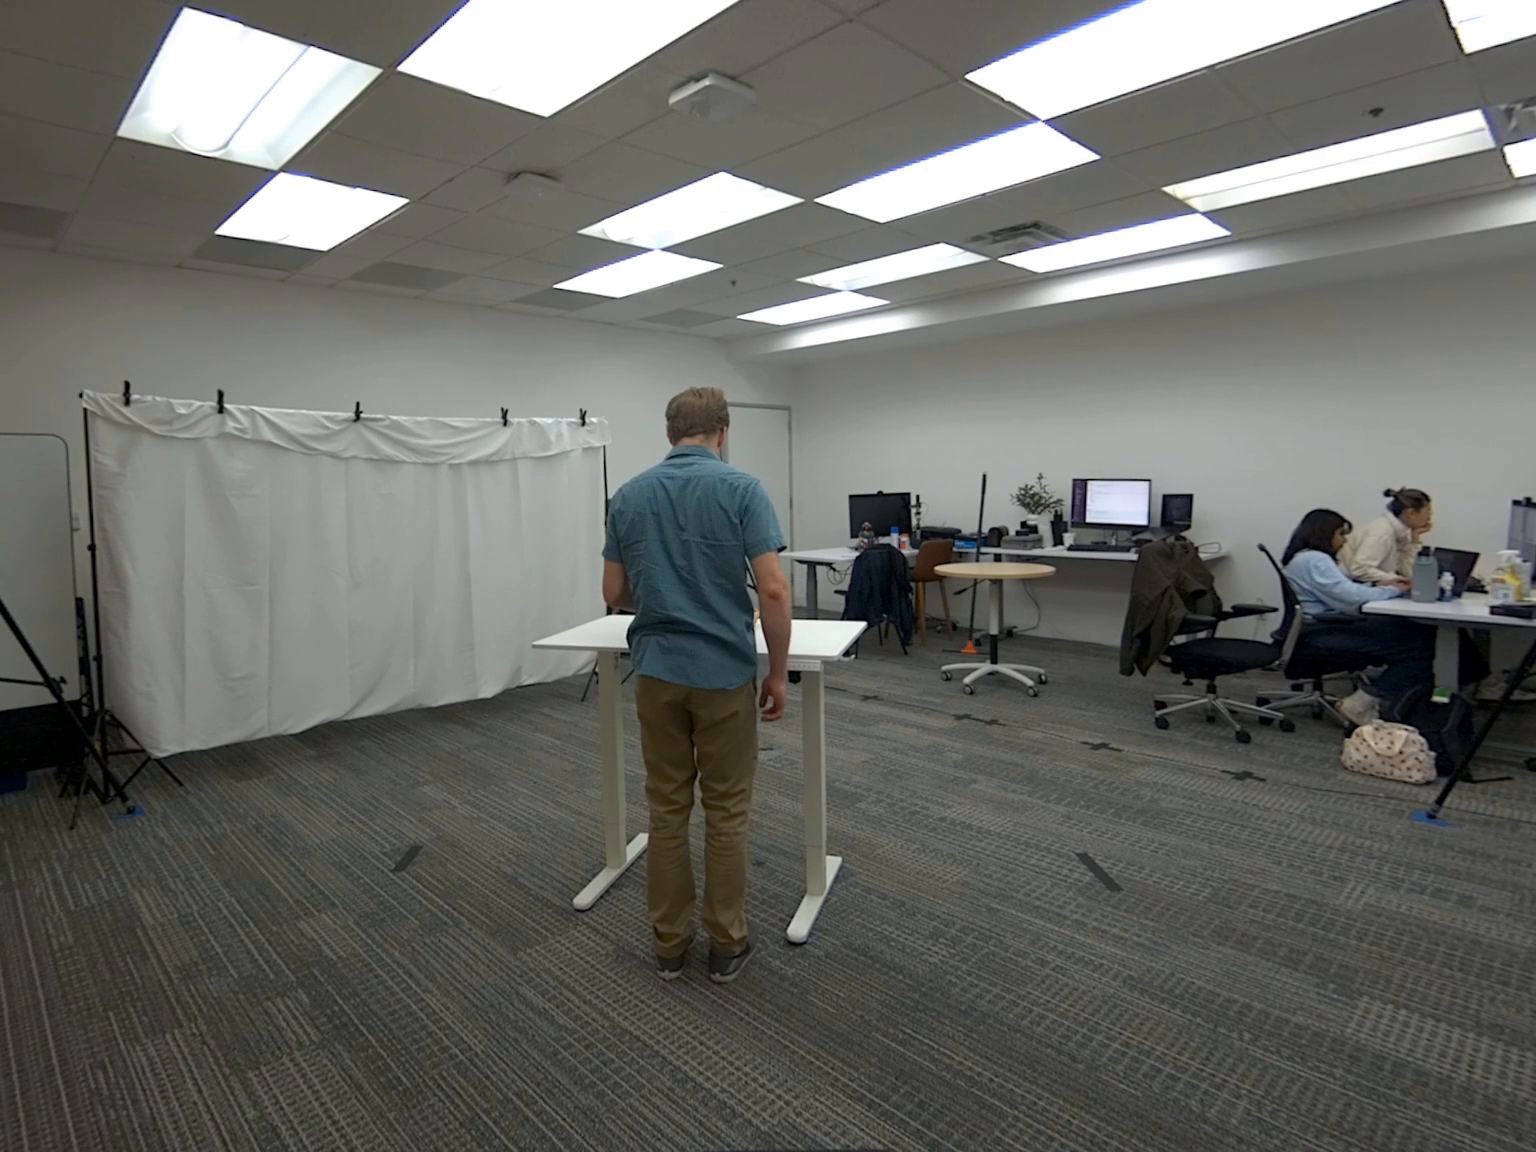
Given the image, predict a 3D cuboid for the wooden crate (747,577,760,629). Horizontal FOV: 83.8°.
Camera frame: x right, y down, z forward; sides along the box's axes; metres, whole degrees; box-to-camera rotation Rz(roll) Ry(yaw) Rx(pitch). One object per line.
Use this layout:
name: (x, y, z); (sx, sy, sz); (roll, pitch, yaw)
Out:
wooden crate: (-0.214, 0.058, 2.923); (0.308, 0.272, 0.319); (1, 6, 22)
